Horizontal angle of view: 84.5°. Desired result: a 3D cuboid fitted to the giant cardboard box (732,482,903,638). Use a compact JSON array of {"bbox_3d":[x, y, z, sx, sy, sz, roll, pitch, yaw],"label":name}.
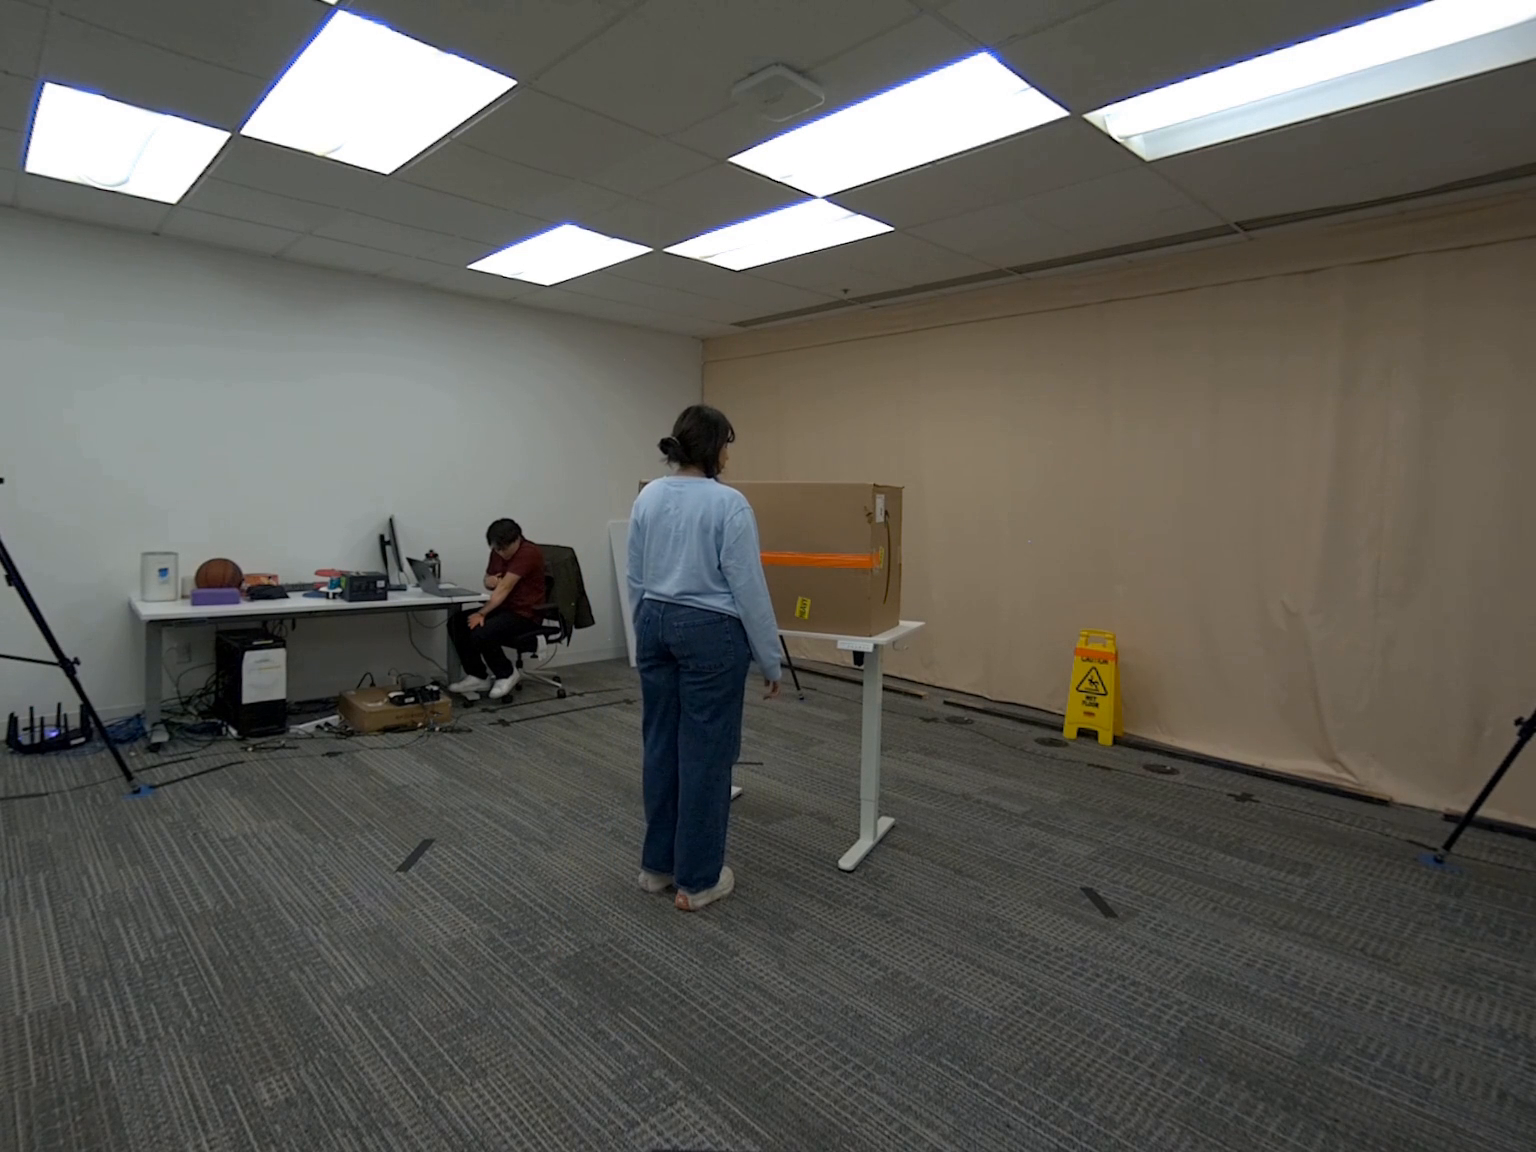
[{"bbox_3d":[0.009,-0.095,3.512,1.046,0.576,0.419,3,4,26],"label":"giant cardboard box"}]
